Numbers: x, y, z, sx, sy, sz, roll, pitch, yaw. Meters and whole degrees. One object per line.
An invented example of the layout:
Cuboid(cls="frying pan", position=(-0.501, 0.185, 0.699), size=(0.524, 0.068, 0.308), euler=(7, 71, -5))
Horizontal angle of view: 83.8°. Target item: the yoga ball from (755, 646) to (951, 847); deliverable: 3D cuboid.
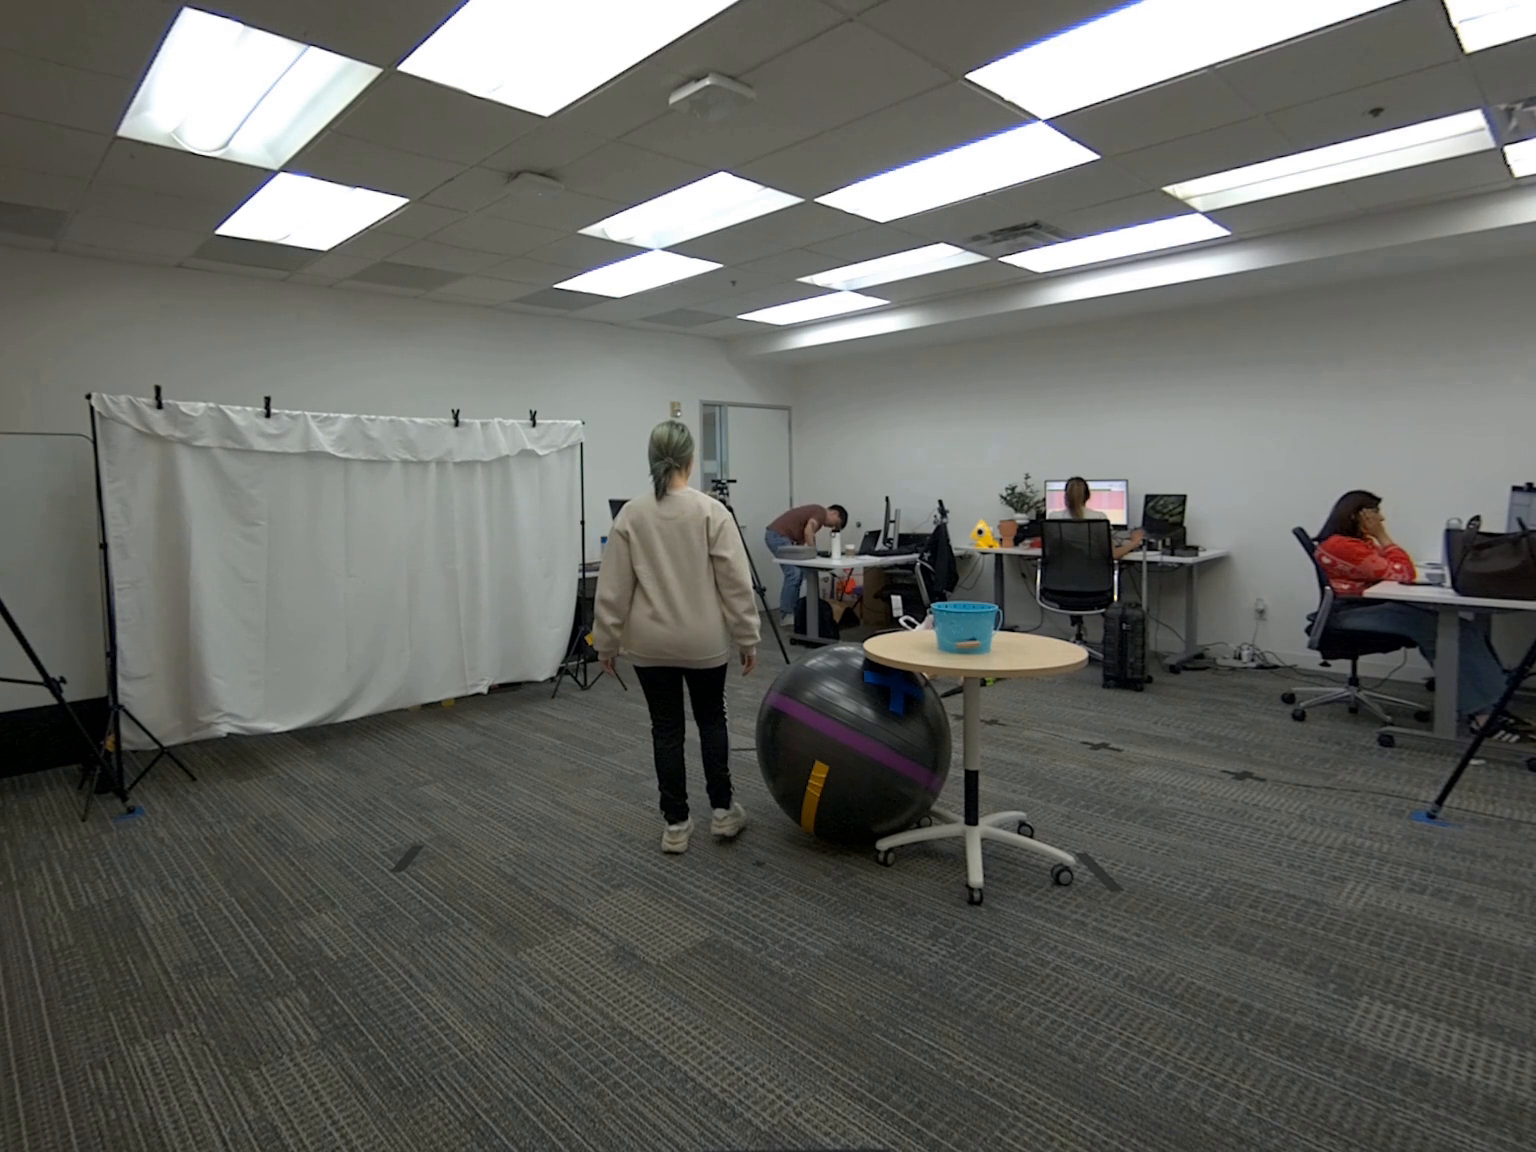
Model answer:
Cuboid(cls="yoga ball", position=(0.341, 0.647, 3.346), size=(0.757, 0.755, 0.762), euler=(-1, 5, -2))
